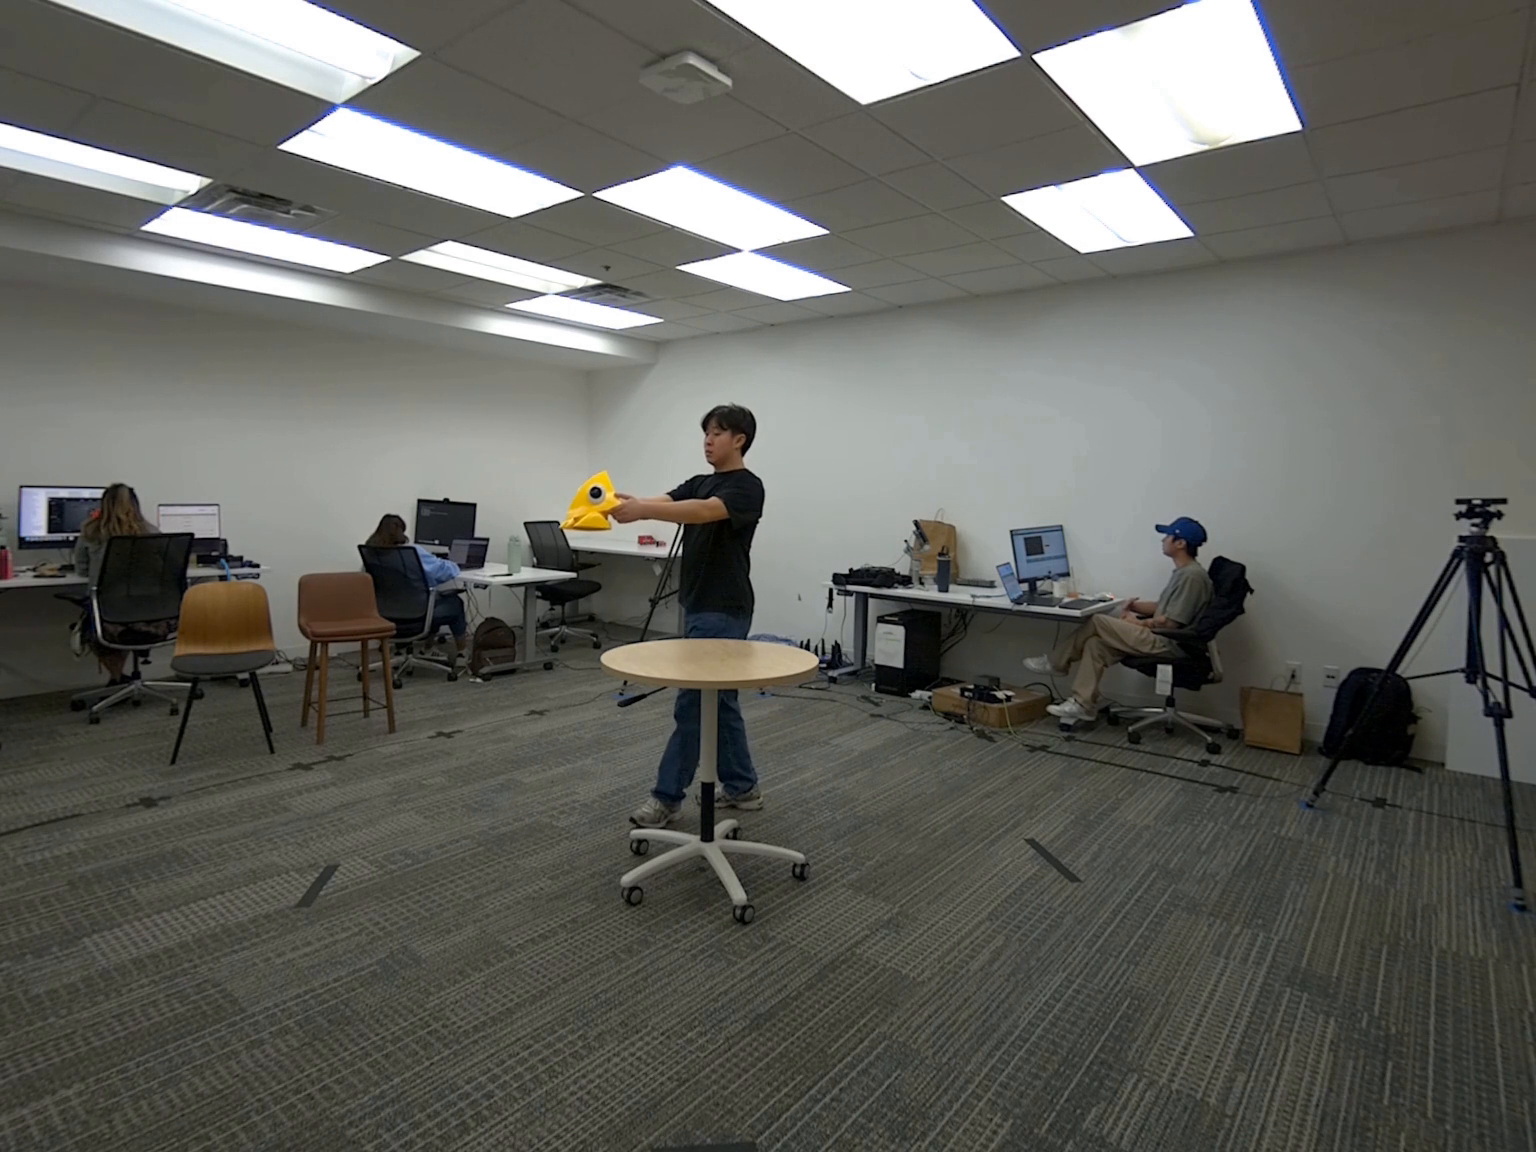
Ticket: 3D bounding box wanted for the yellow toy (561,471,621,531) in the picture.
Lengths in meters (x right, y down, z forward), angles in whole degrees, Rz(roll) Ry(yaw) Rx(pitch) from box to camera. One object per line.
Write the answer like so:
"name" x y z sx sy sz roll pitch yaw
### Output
"yellow toy" -0.686 -0.298 3.216 0.186 0.232 0.211 6 -5 -38
